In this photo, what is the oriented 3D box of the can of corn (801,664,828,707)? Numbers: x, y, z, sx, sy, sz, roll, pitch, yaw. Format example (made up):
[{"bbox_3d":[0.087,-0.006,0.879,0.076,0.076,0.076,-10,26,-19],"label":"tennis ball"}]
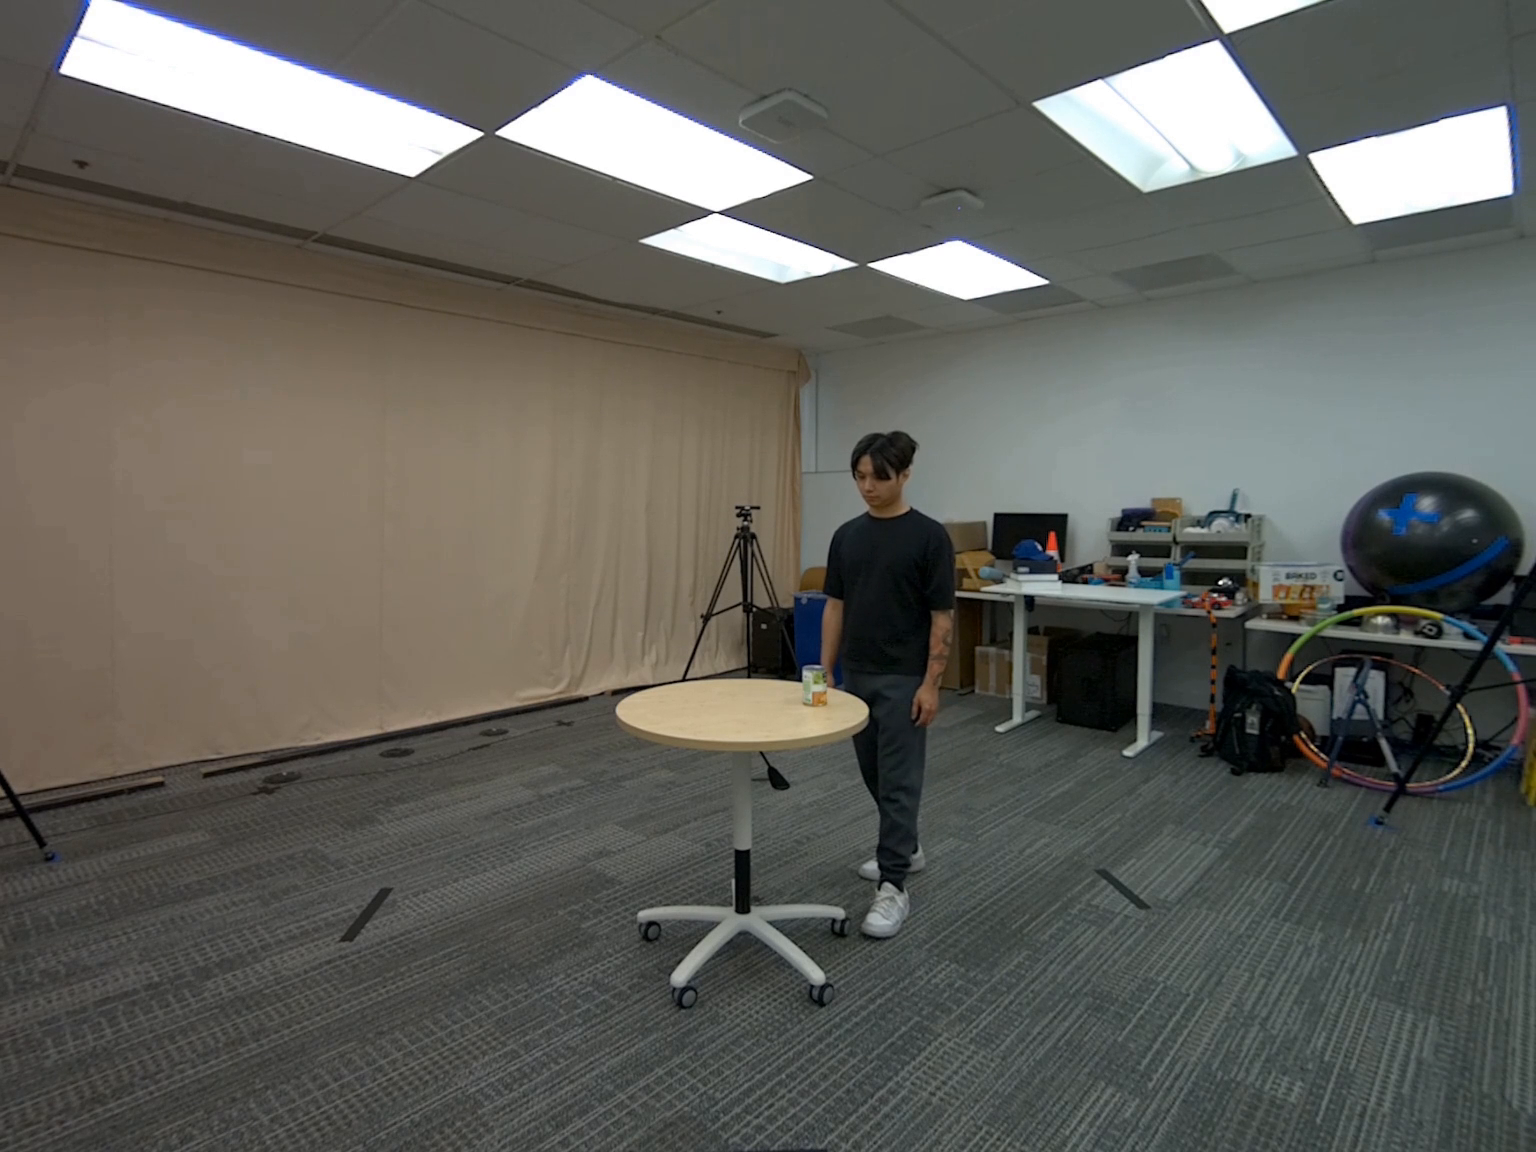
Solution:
[{"bbox_3d":[0.149,0.339,2.582,0.074,0.111,0.074,2,4,-2],"label":"can of corn"}]
